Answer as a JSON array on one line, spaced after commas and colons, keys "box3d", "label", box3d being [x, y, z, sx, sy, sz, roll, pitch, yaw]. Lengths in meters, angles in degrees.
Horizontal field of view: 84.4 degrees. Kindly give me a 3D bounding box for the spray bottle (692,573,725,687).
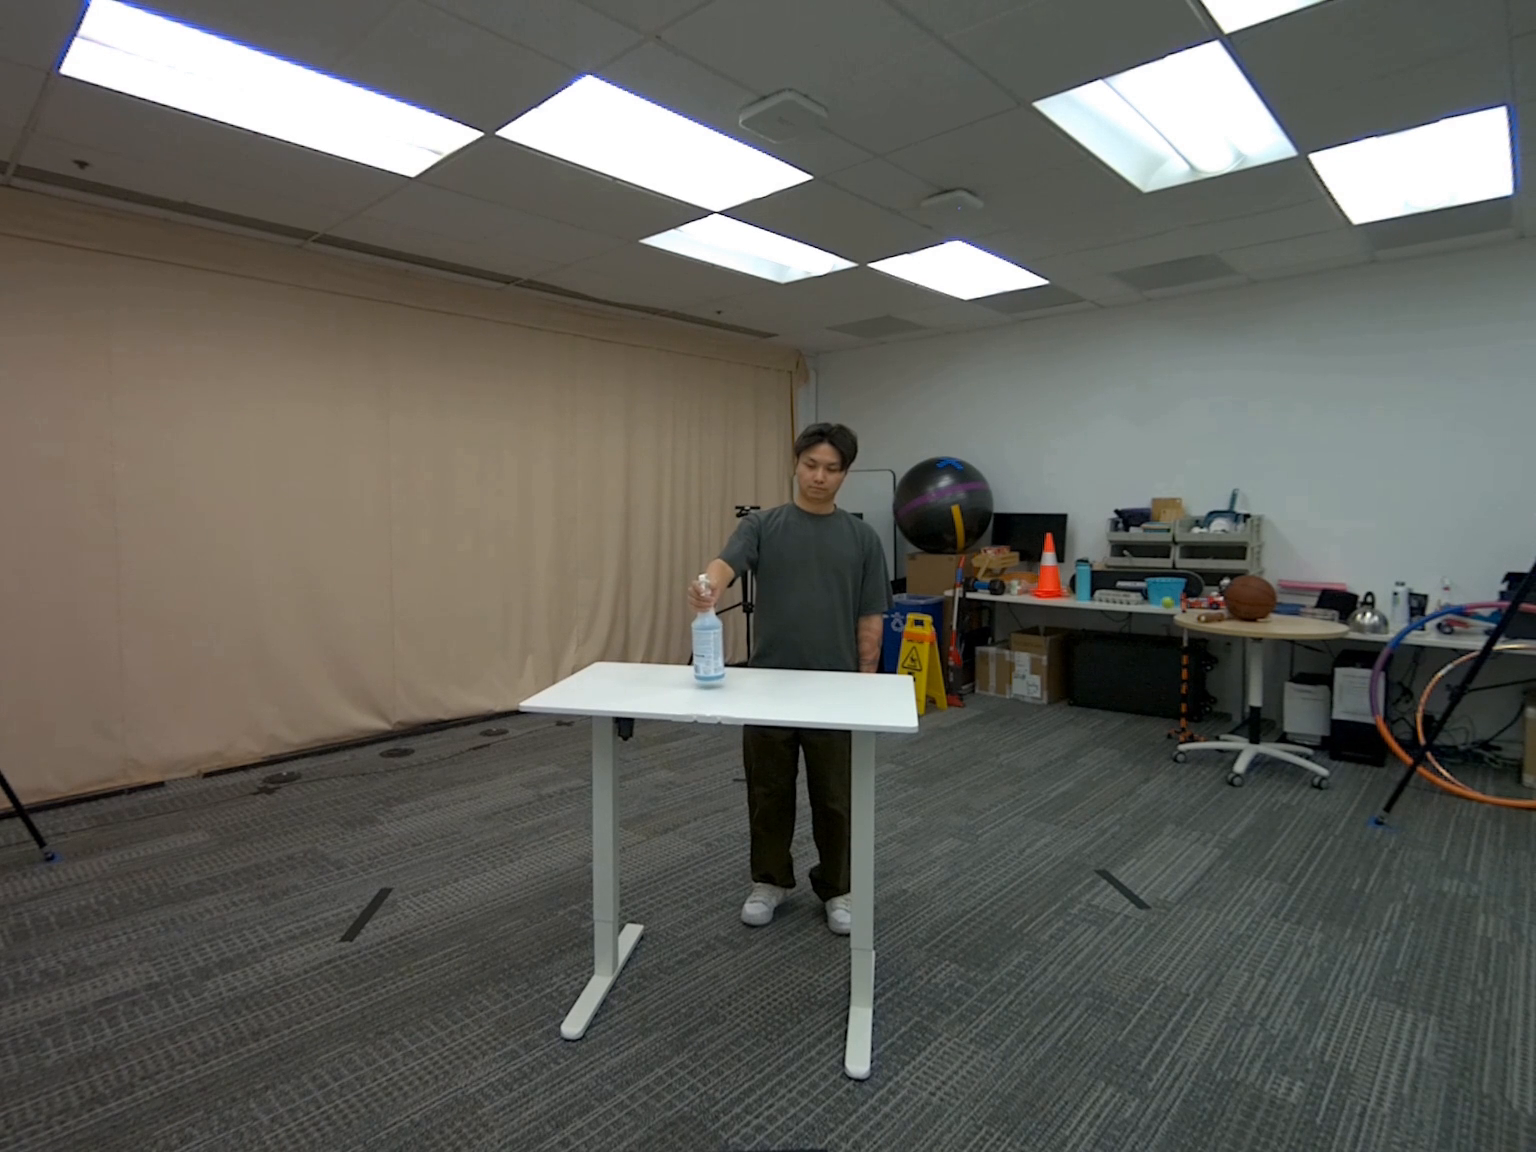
[{"box3d": [-0.173, 0.138, 2.351, 0.090, 0.296, 0.087, 1, 6, 34], "label": "spray bottle"}]
